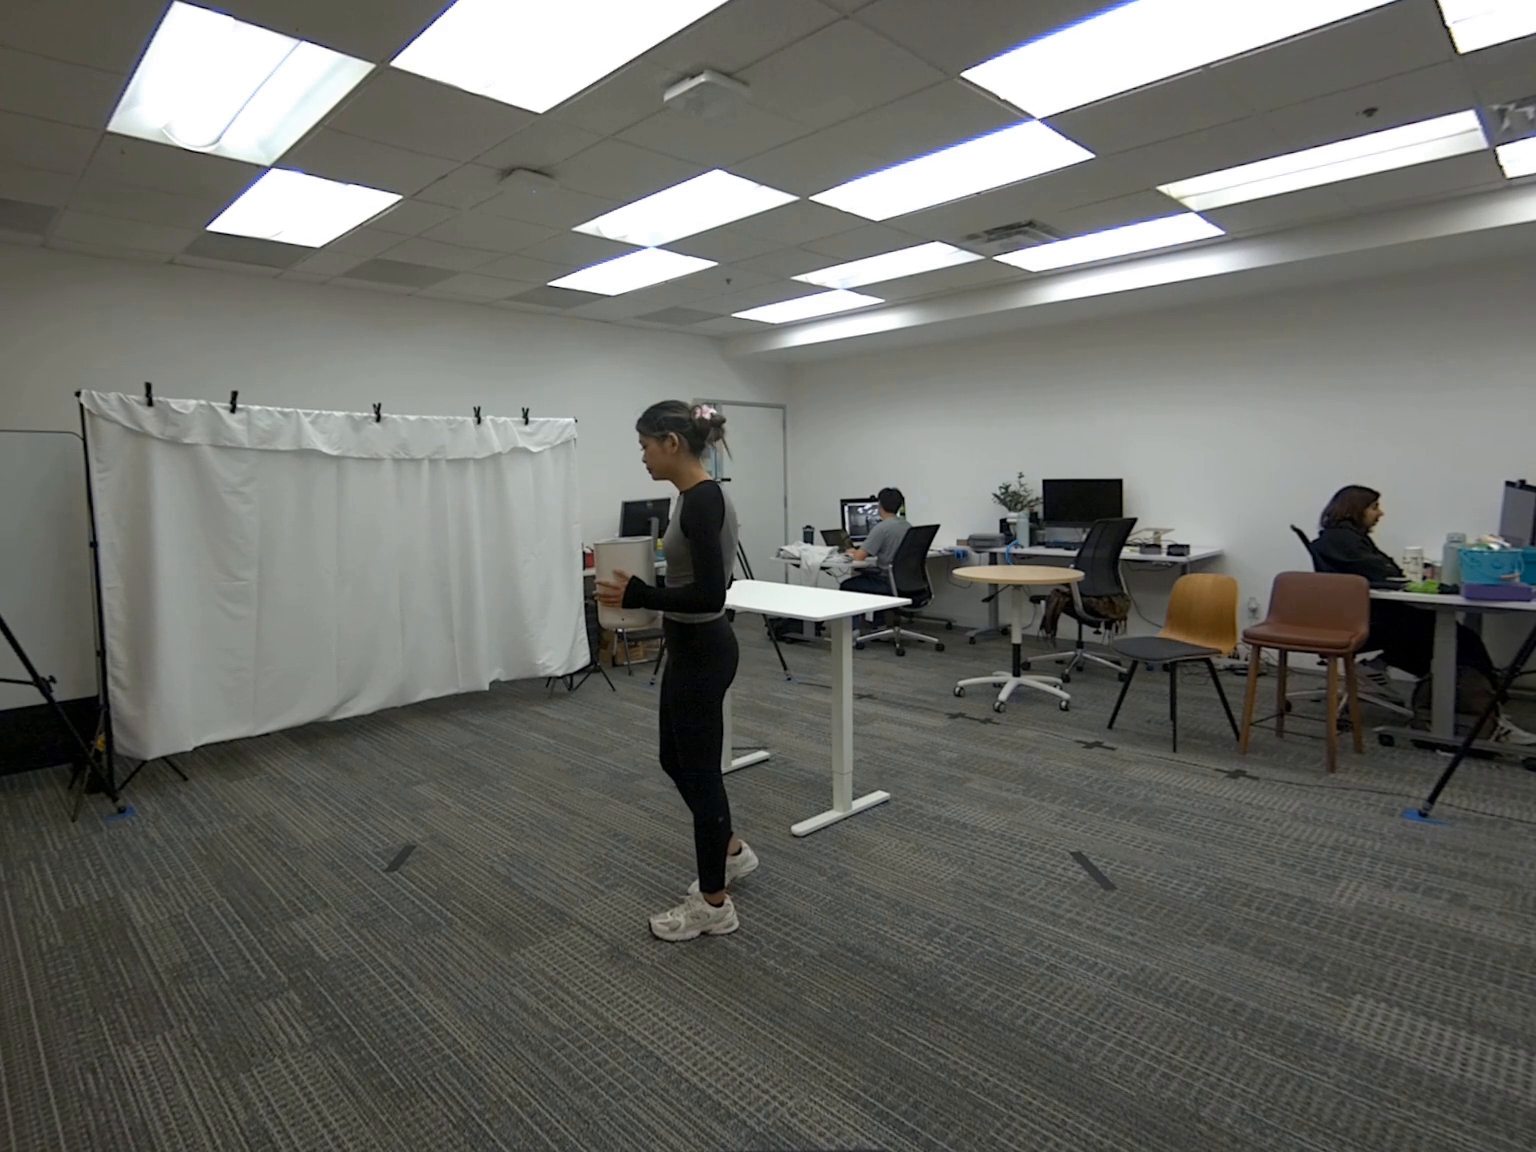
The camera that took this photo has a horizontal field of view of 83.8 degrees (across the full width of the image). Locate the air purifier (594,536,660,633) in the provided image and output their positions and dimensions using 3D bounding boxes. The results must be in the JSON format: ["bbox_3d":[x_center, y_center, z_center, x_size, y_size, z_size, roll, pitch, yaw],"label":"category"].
[{"bbox_3d":[-0.436,0.020,2.626,0.172,0.265,0.170,-3,2,8],"label":"air purifier"}]
